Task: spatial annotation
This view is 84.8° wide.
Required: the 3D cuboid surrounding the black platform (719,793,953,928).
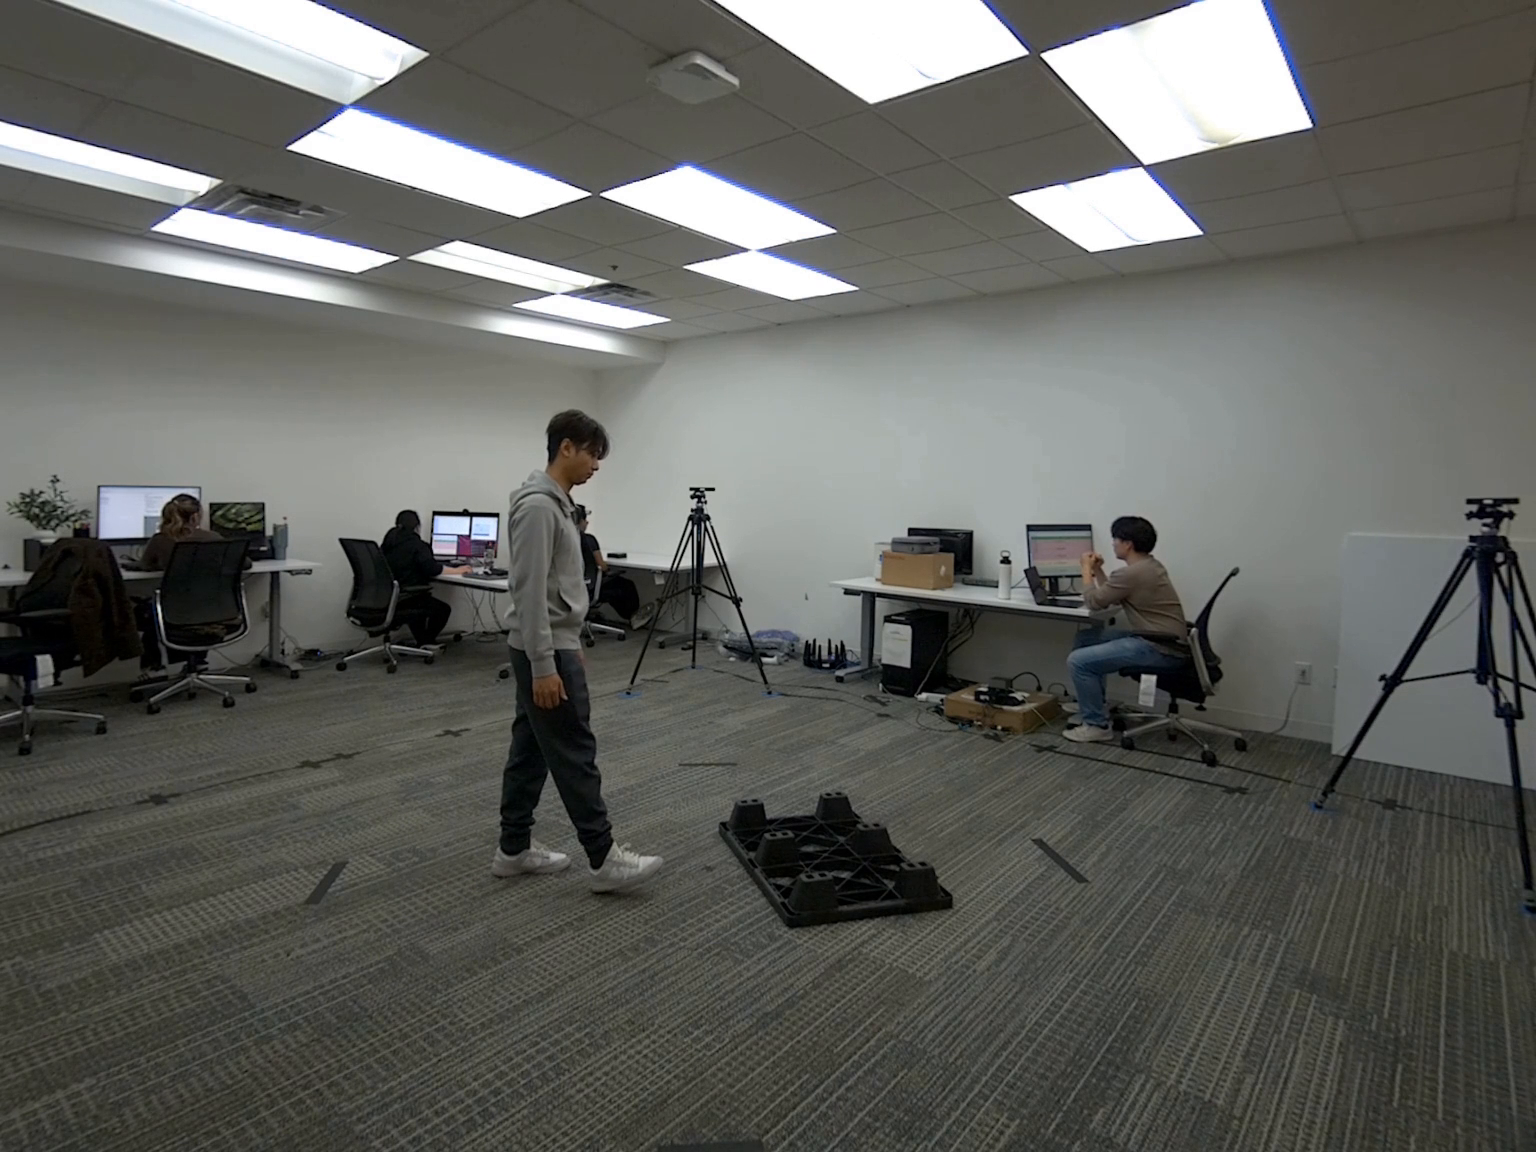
[{"bbox_3d":[0.200,1.004,3.151,0.594,0.143,0.824,0,5,-19],"label":"black platform"}]
